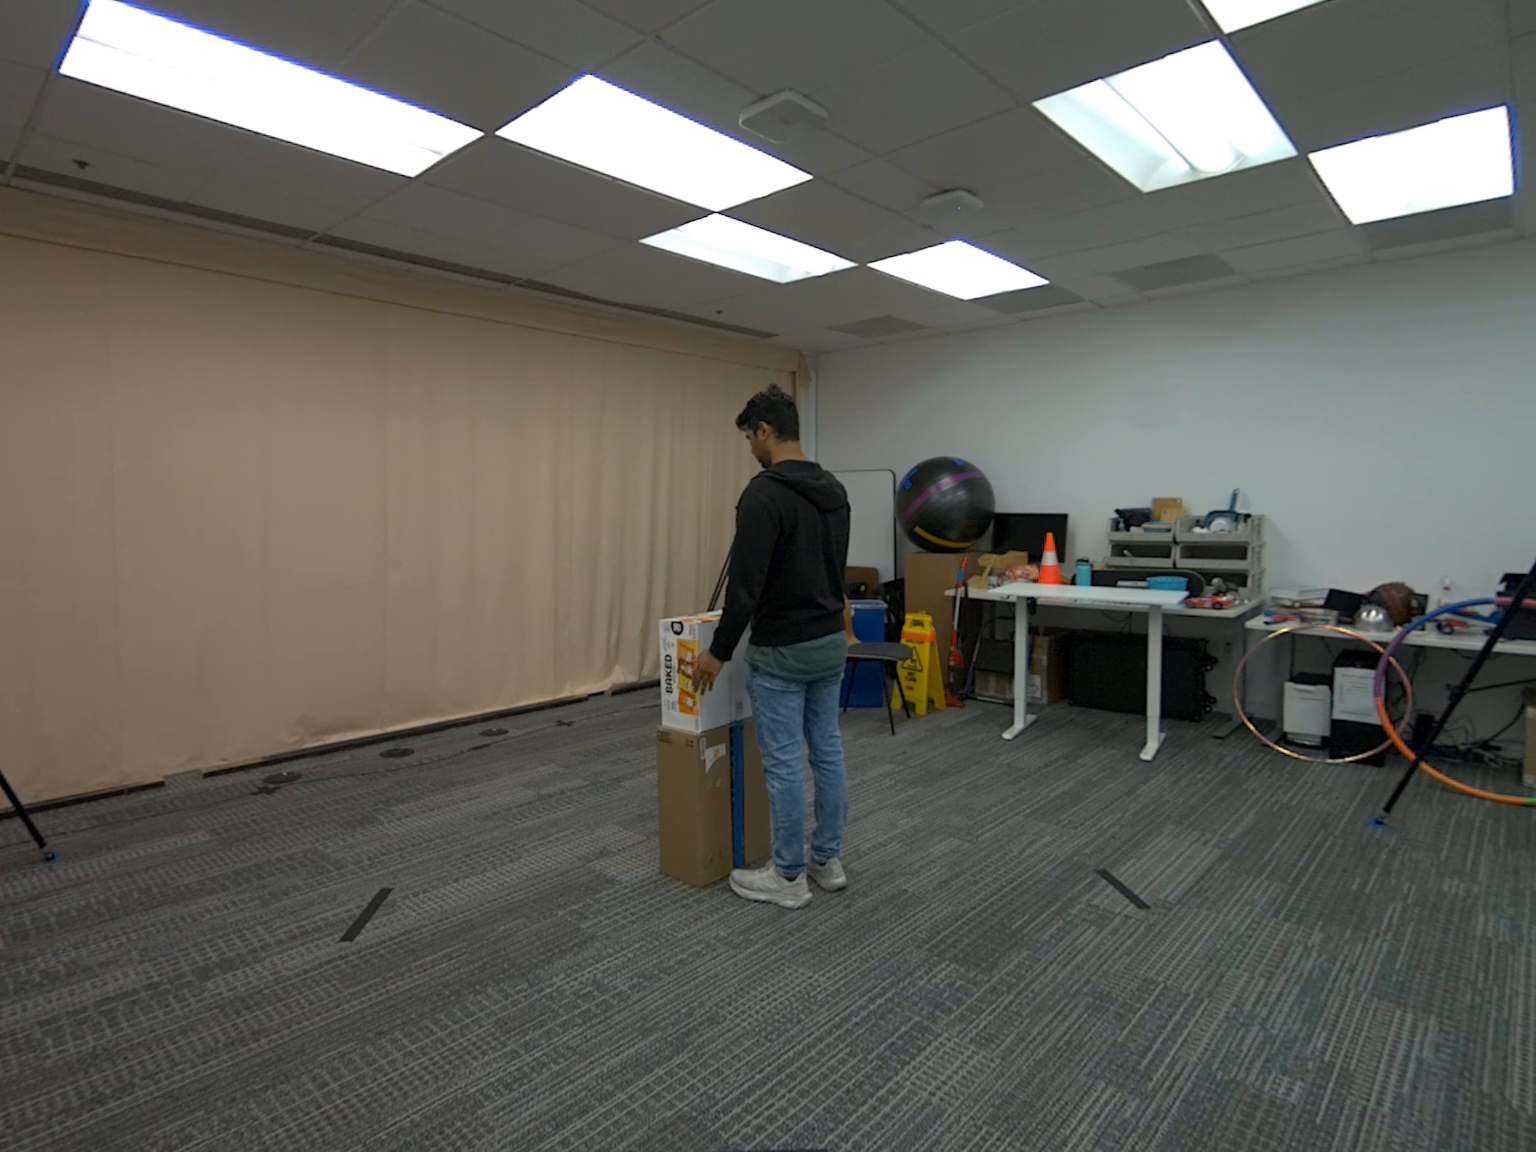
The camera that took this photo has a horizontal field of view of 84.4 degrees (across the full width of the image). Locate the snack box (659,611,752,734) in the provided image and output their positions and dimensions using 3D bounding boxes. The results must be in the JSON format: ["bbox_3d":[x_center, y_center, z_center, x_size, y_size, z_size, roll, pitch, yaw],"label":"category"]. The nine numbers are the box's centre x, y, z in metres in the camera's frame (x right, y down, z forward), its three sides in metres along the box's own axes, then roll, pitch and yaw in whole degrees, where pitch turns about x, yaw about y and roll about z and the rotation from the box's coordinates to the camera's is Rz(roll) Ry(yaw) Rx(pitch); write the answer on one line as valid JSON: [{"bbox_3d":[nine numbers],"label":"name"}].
[{"bbox_3d":[-0.219,0.355,3.248,0.212,0.404,0.330,0,3,42],"label":"snack box"}]
